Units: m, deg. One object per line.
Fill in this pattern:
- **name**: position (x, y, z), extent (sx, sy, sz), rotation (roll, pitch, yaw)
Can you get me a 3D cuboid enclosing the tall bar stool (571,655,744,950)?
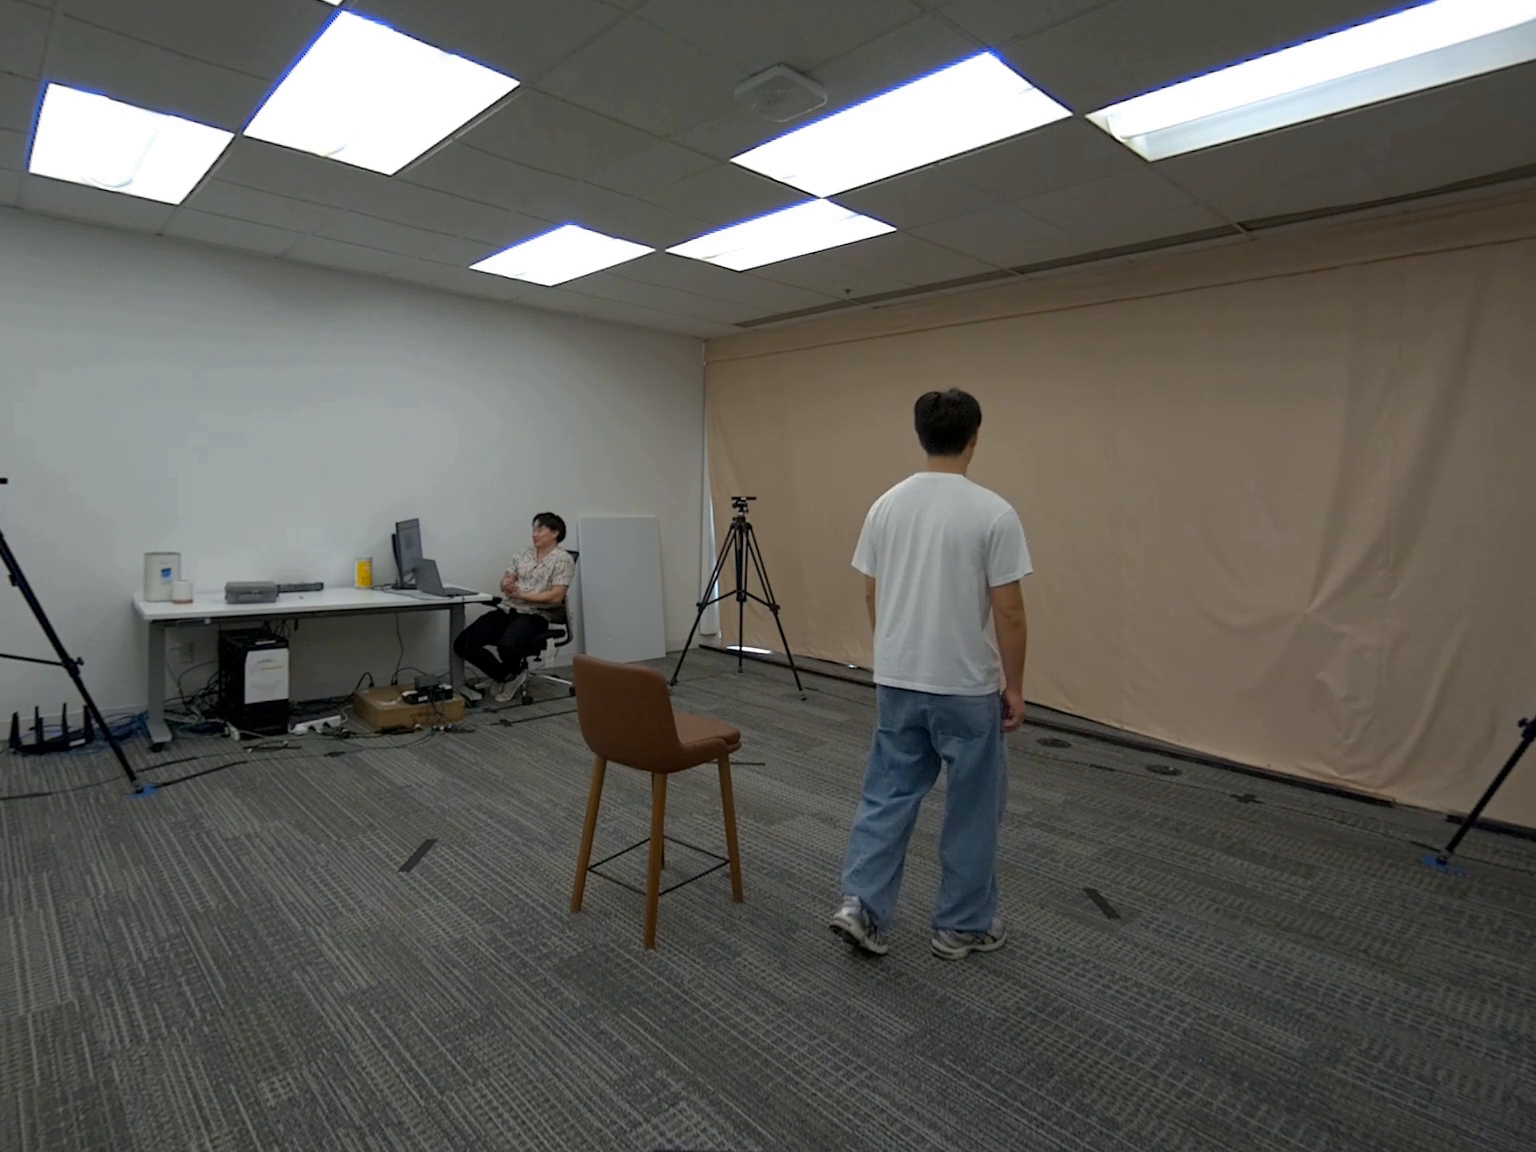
- **tall bar stool**: position (-0.378, 0.689, 2.846), extent (0.468, 0.886, 0.458), rotation (4, 6, 38)
